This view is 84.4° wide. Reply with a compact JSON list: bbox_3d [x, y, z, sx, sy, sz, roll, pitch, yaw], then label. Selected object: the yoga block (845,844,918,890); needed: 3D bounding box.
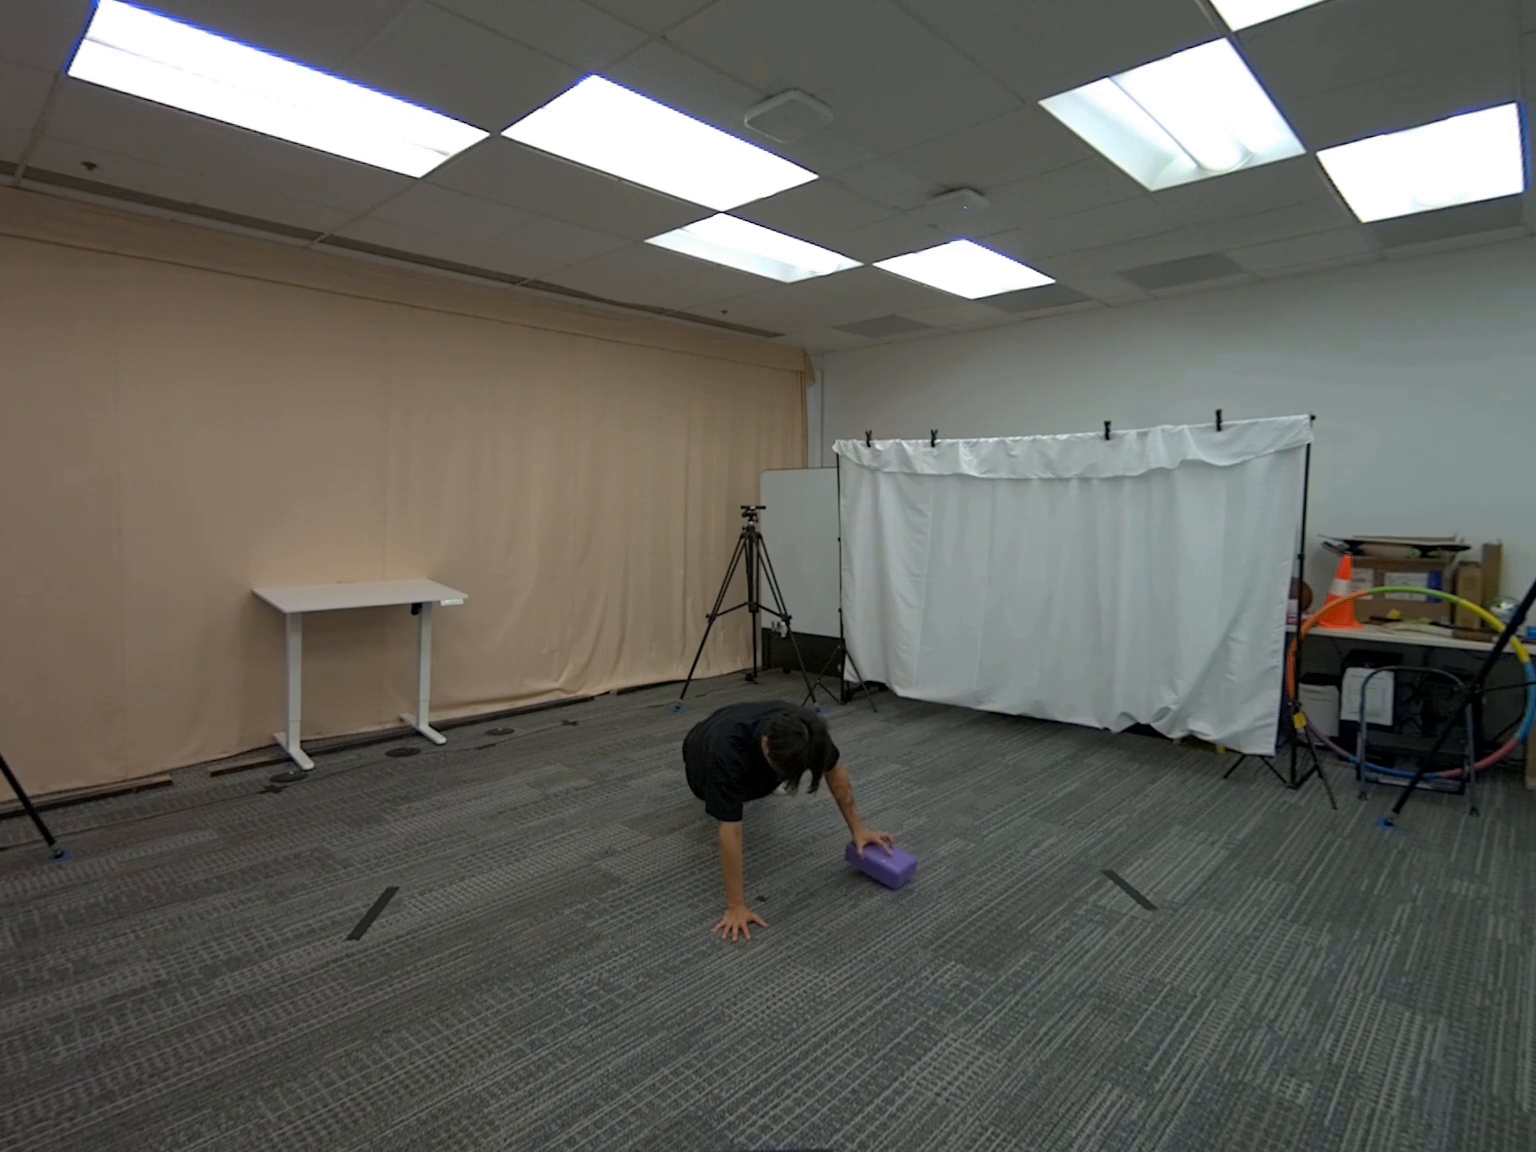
[{"bbox_3d":[0.426,1.062,3.143,0.238,0.076,0.145,17,22,41],"label":"yoga block"}]
